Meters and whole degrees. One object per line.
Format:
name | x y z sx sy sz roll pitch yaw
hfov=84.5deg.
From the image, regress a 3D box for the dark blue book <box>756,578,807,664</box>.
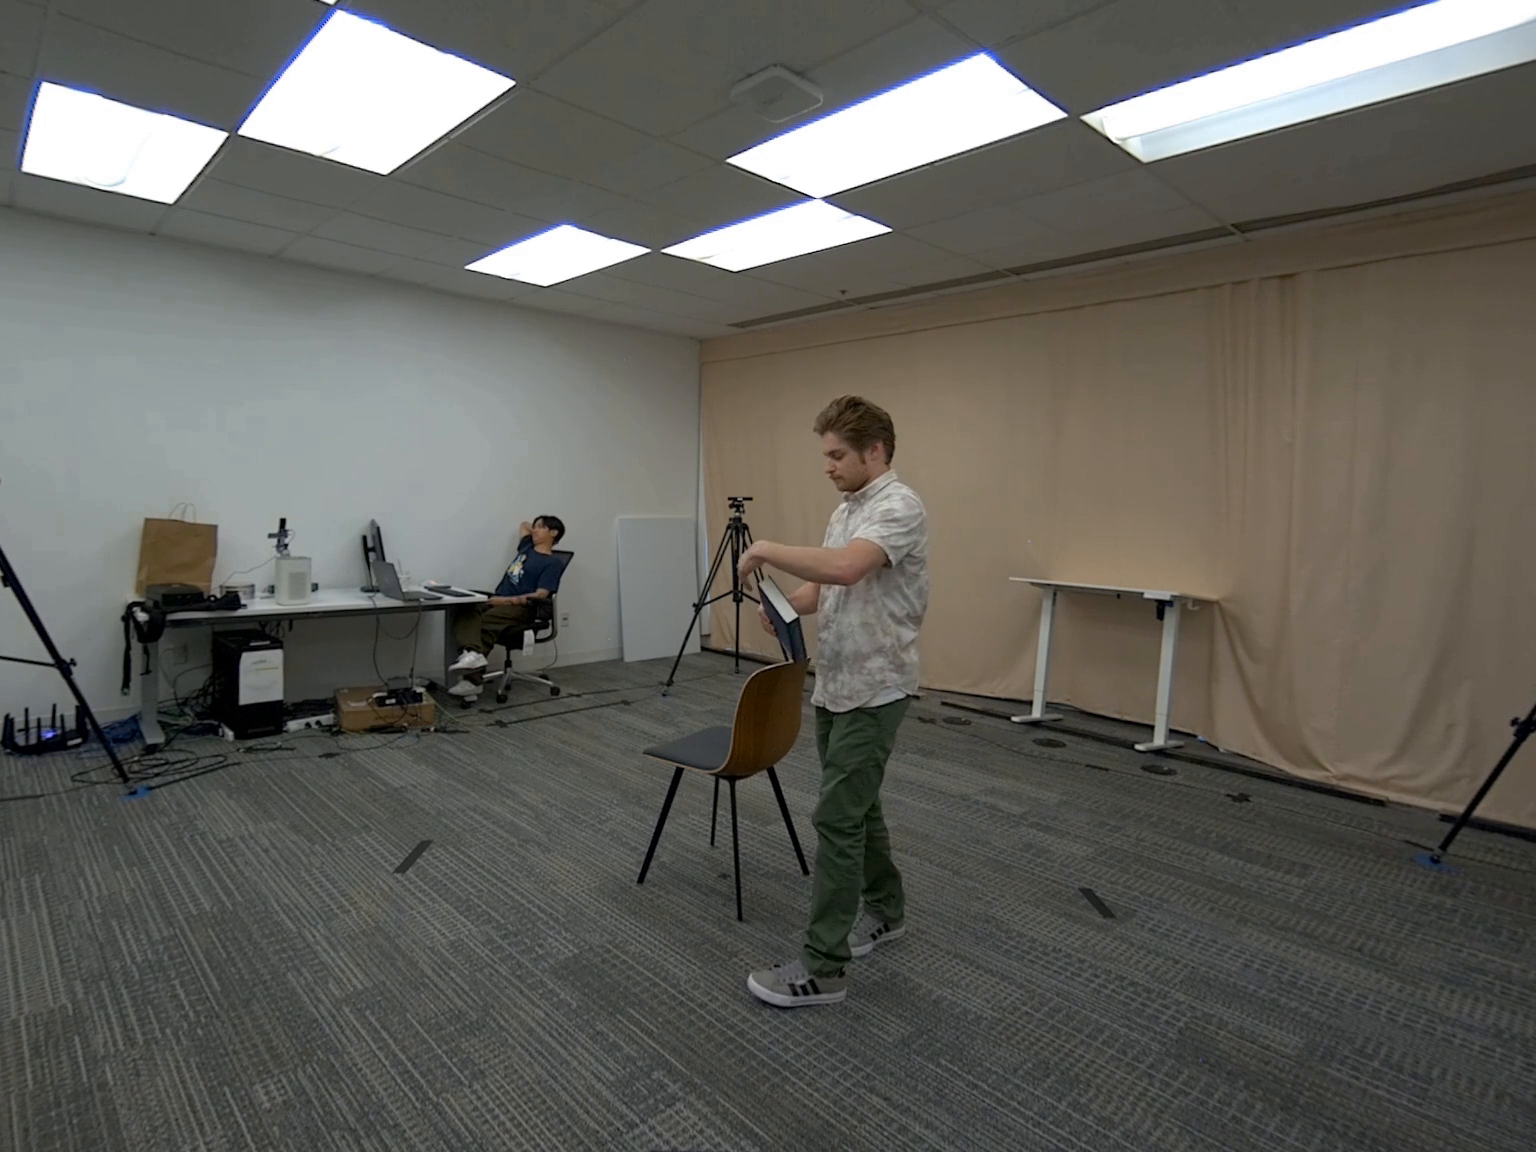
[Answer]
dark blue book | 0.037 0.124 2.394 0.045 0.168 0.239 -28 -34 -9
